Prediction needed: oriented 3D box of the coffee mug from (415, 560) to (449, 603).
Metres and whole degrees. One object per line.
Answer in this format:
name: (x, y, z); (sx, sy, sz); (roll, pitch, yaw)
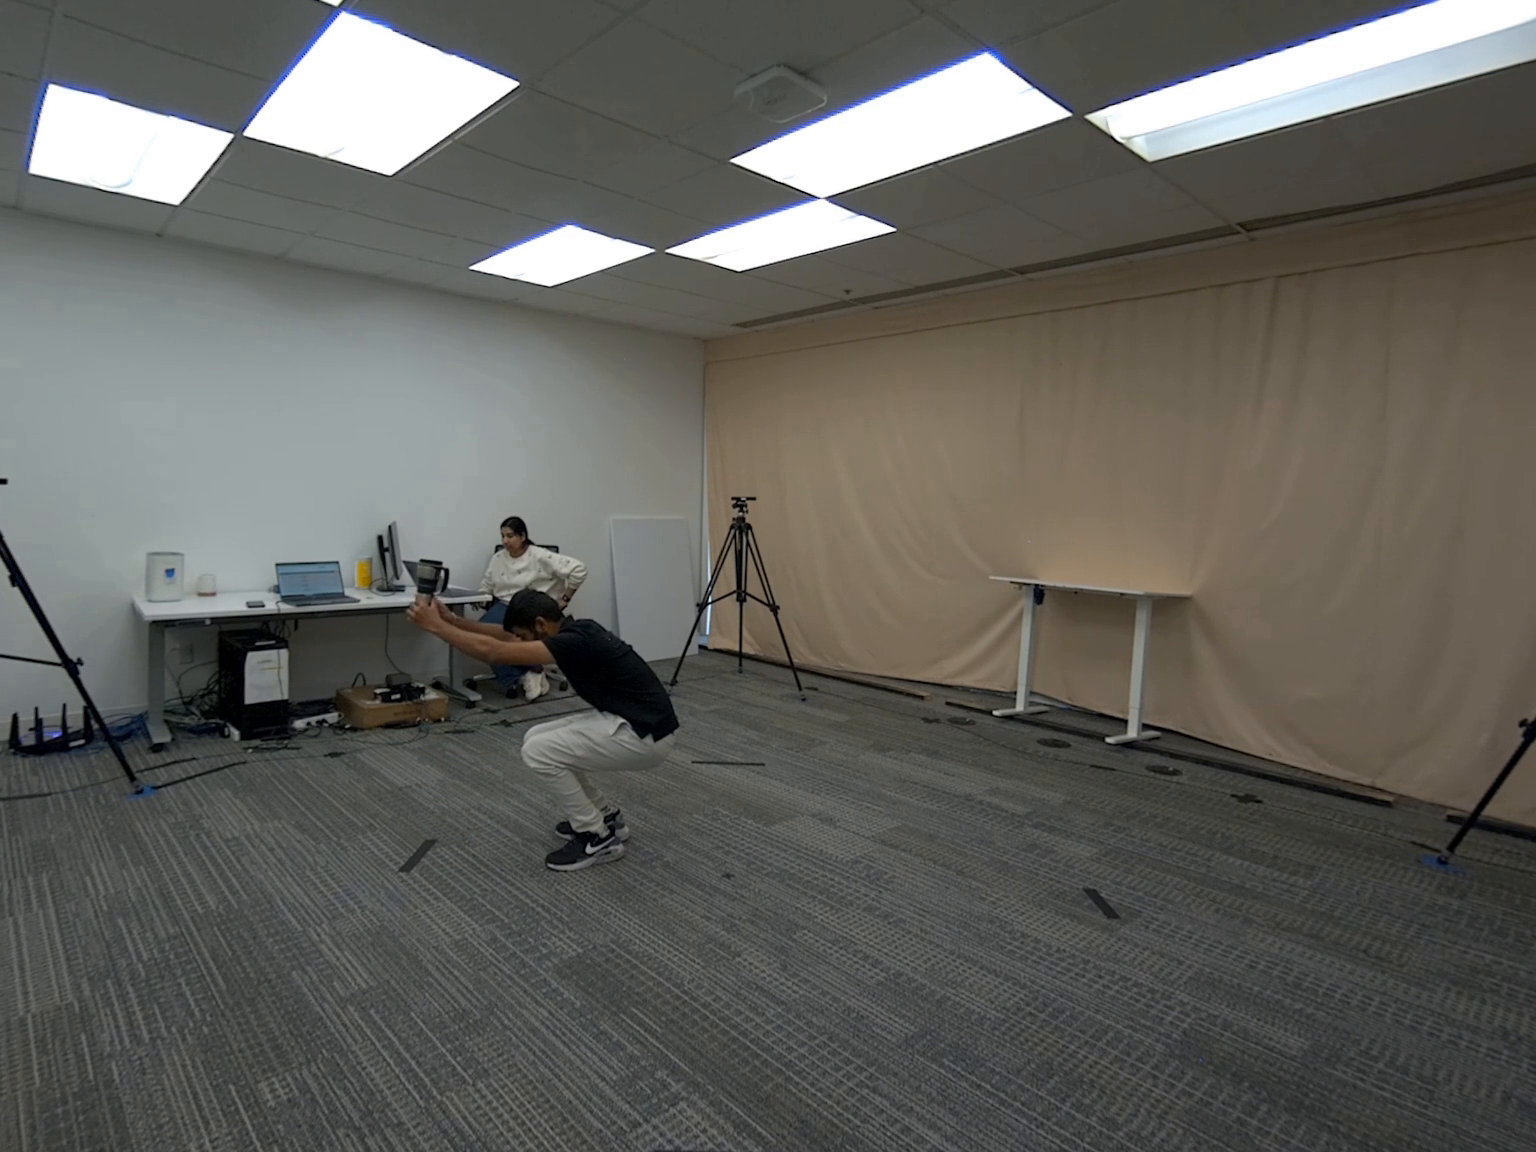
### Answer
coffee mug: (-1.284, 0.046, 3.184); (0.086, 0.203, 0.125); (8, -1, -33)
